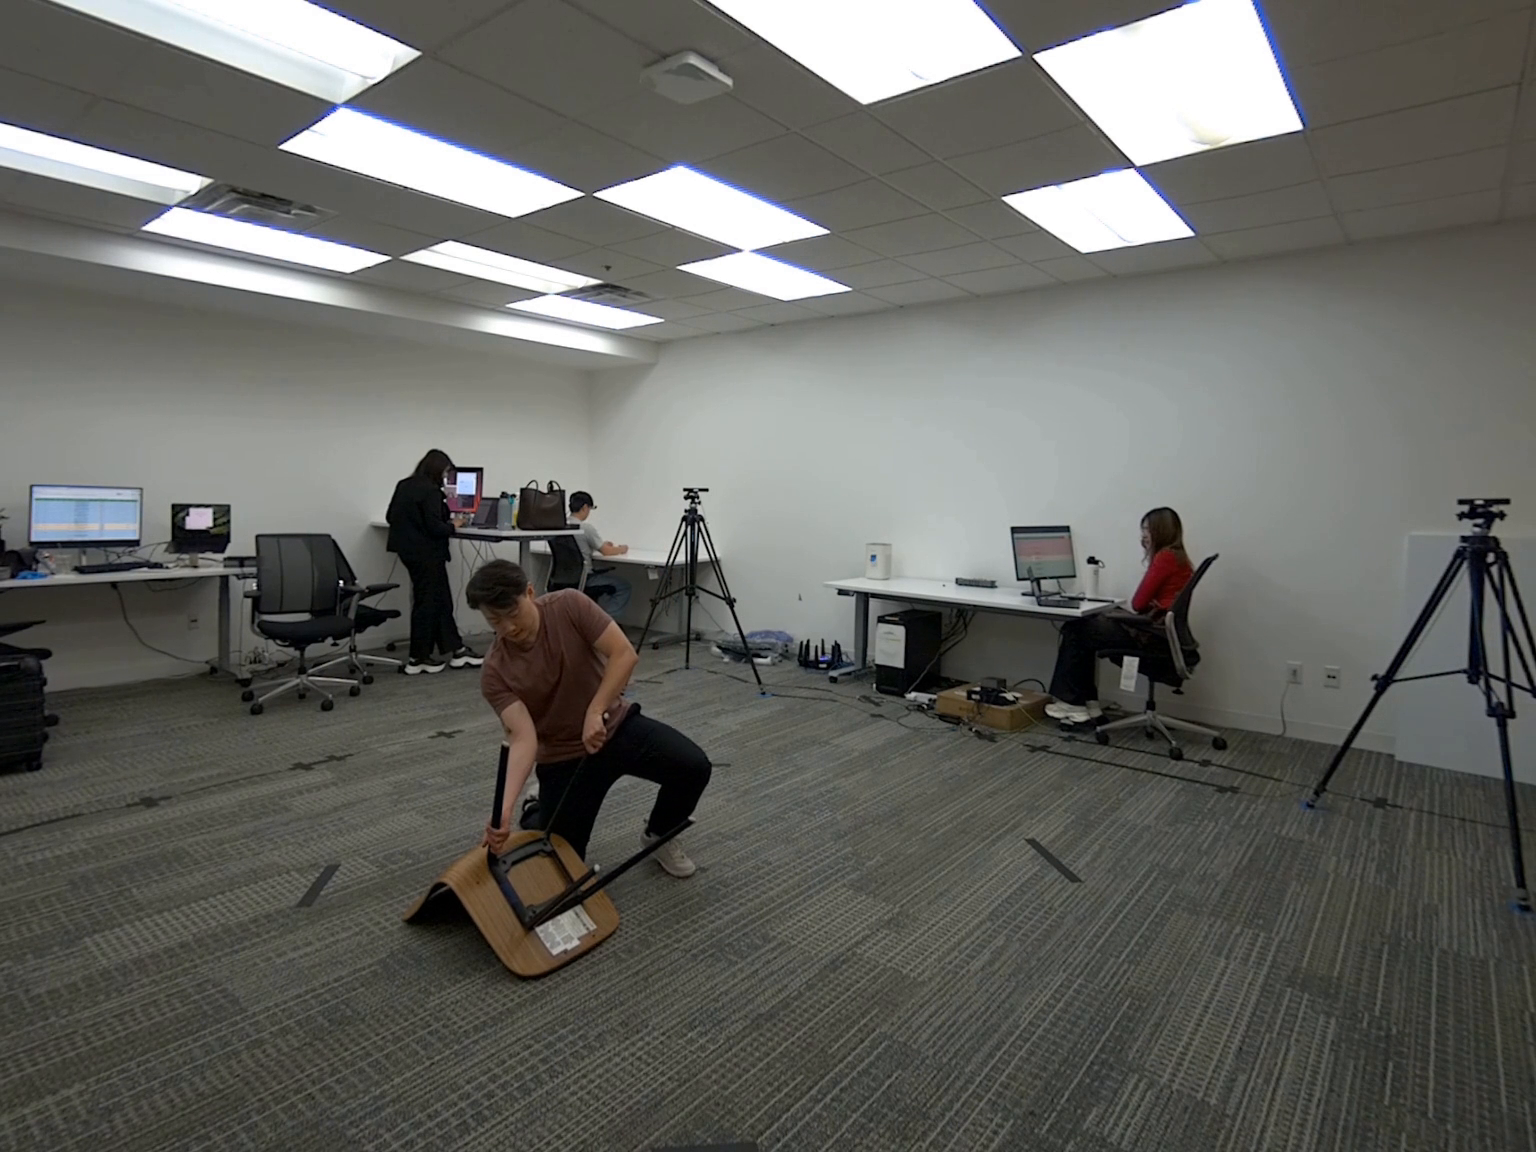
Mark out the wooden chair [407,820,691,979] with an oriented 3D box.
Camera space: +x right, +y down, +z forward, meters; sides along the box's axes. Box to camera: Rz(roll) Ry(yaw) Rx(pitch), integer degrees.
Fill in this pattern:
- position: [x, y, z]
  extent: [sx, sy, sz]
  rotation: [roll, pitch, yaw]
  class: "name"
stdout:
- position: [-0.719, 0.940, 2.620]
  extent: [0.539, 0.875, 0.465]
  rotation: [47, 23, 20]
  class: "wooden chair"
